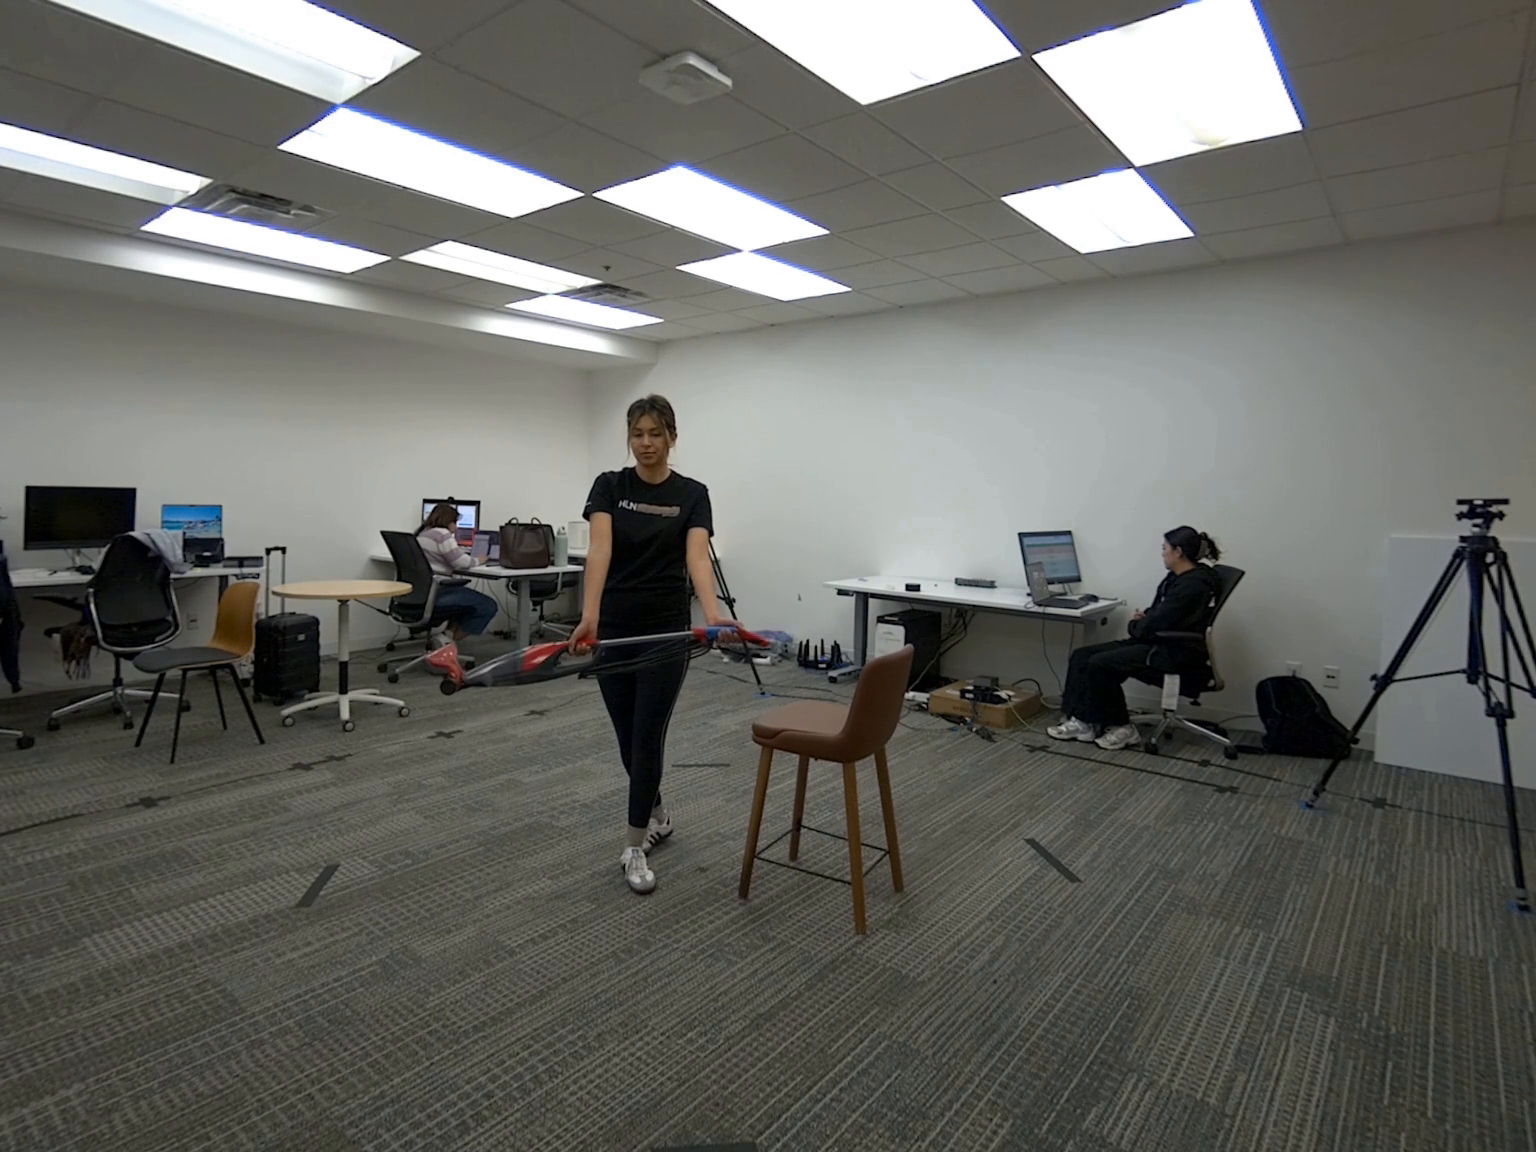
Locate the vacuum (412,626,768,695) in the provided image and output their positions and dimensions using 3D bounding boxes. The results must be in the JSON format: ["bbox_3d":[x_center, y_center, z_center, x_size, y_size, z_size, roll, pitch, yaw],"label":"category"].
[{"bbox_3d":[-0.549,0.269,2.712,1.052,0.143,0.253,-5,7,3],"label":"vacuum"}]
